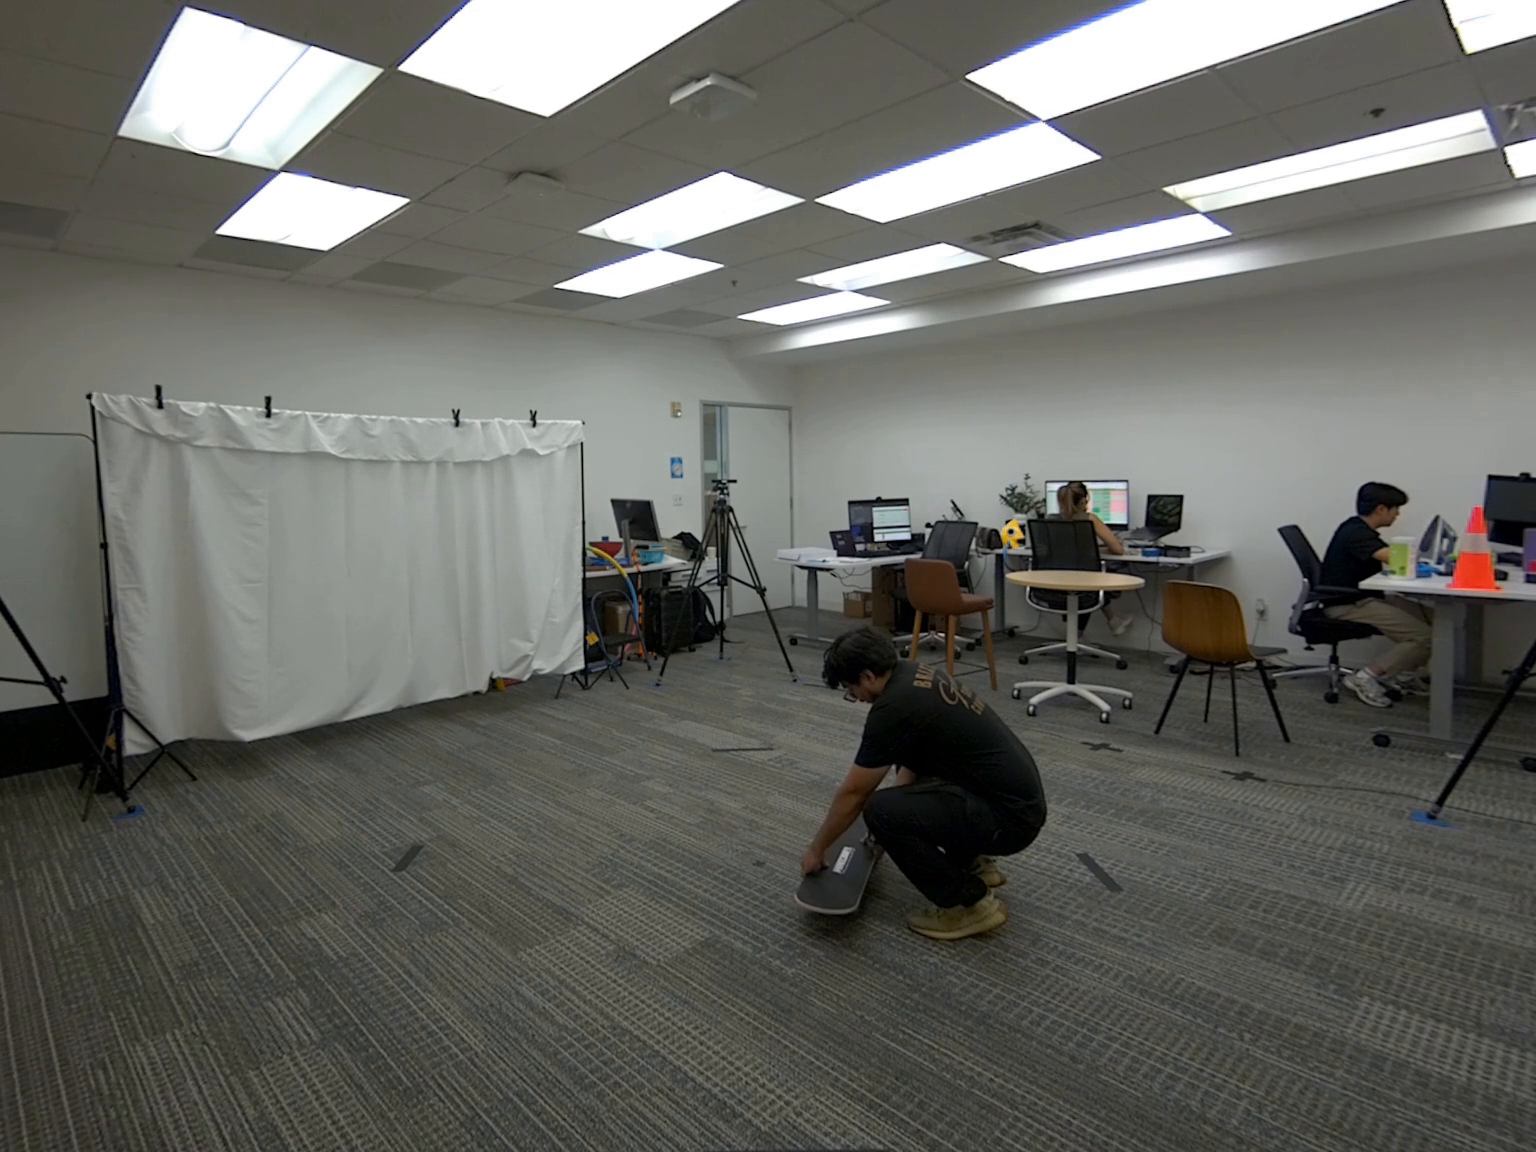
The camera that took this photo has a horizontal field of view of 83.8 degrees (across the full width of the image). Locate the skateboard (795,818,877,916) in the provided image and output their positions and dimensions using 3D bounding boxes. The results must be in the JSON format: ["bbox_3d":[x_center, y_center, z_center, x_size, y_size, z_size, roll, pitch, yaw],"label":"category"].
[{"bbox_3d":[0.261,0.995,2.914,0.196,0.110,0.776,2,7,15],"label":"skateboard"}]
